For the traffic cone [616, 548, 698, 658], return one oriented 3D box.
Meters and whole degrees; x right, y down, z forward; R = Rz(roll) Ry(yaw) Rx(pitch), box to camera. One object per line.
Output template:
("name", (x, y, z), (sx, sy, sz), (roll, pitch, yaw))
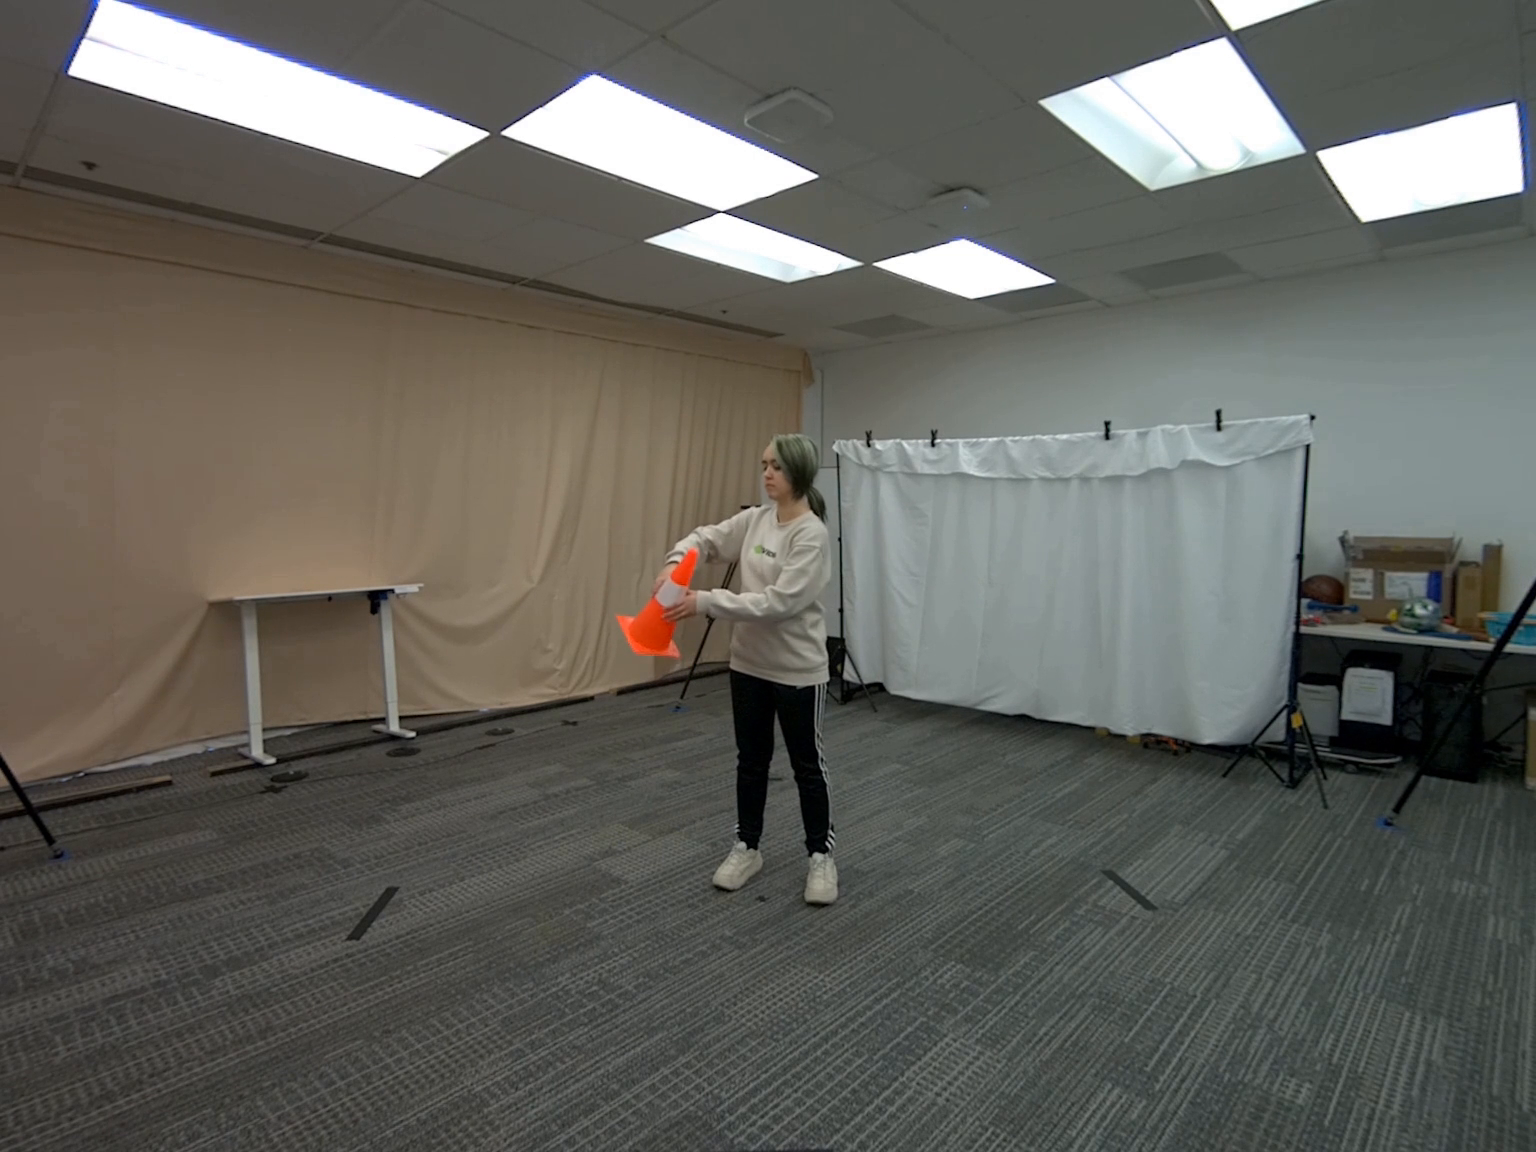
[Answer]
("traffic cone", (-0.327, 0.067, 2.911), (0.196, 0.383, 0.212), (14, 26, -37))
